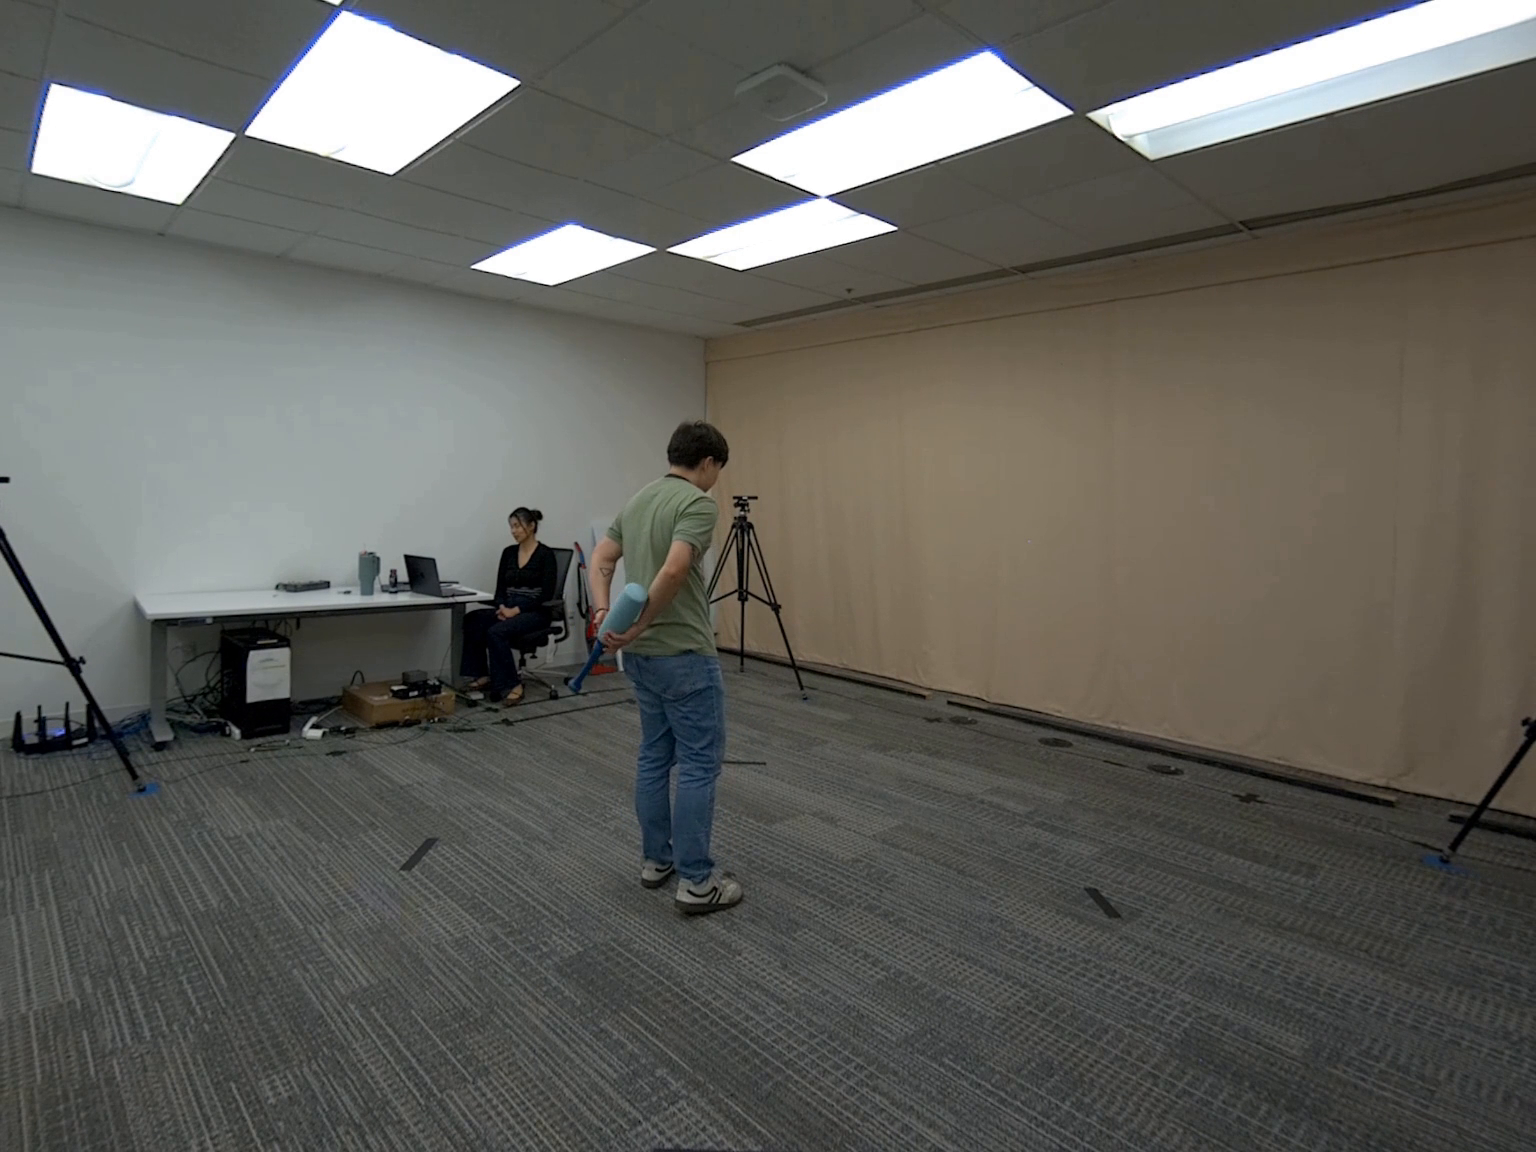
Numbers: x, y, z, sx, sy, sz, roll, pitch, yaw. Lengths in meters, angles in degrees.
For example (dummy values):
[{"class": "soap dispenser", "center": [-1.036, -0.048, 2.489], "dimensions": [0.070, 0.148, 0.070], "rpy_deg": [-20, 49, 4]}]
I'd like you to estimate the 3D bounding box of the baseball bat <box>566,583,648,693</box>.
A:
[{"class": "baseball bat", "center": [-0.560, 0.234, 2.877], "dimensions": [0.087, 0.541, 0.091], "rpy_deg": [23, 35, -19]}]
